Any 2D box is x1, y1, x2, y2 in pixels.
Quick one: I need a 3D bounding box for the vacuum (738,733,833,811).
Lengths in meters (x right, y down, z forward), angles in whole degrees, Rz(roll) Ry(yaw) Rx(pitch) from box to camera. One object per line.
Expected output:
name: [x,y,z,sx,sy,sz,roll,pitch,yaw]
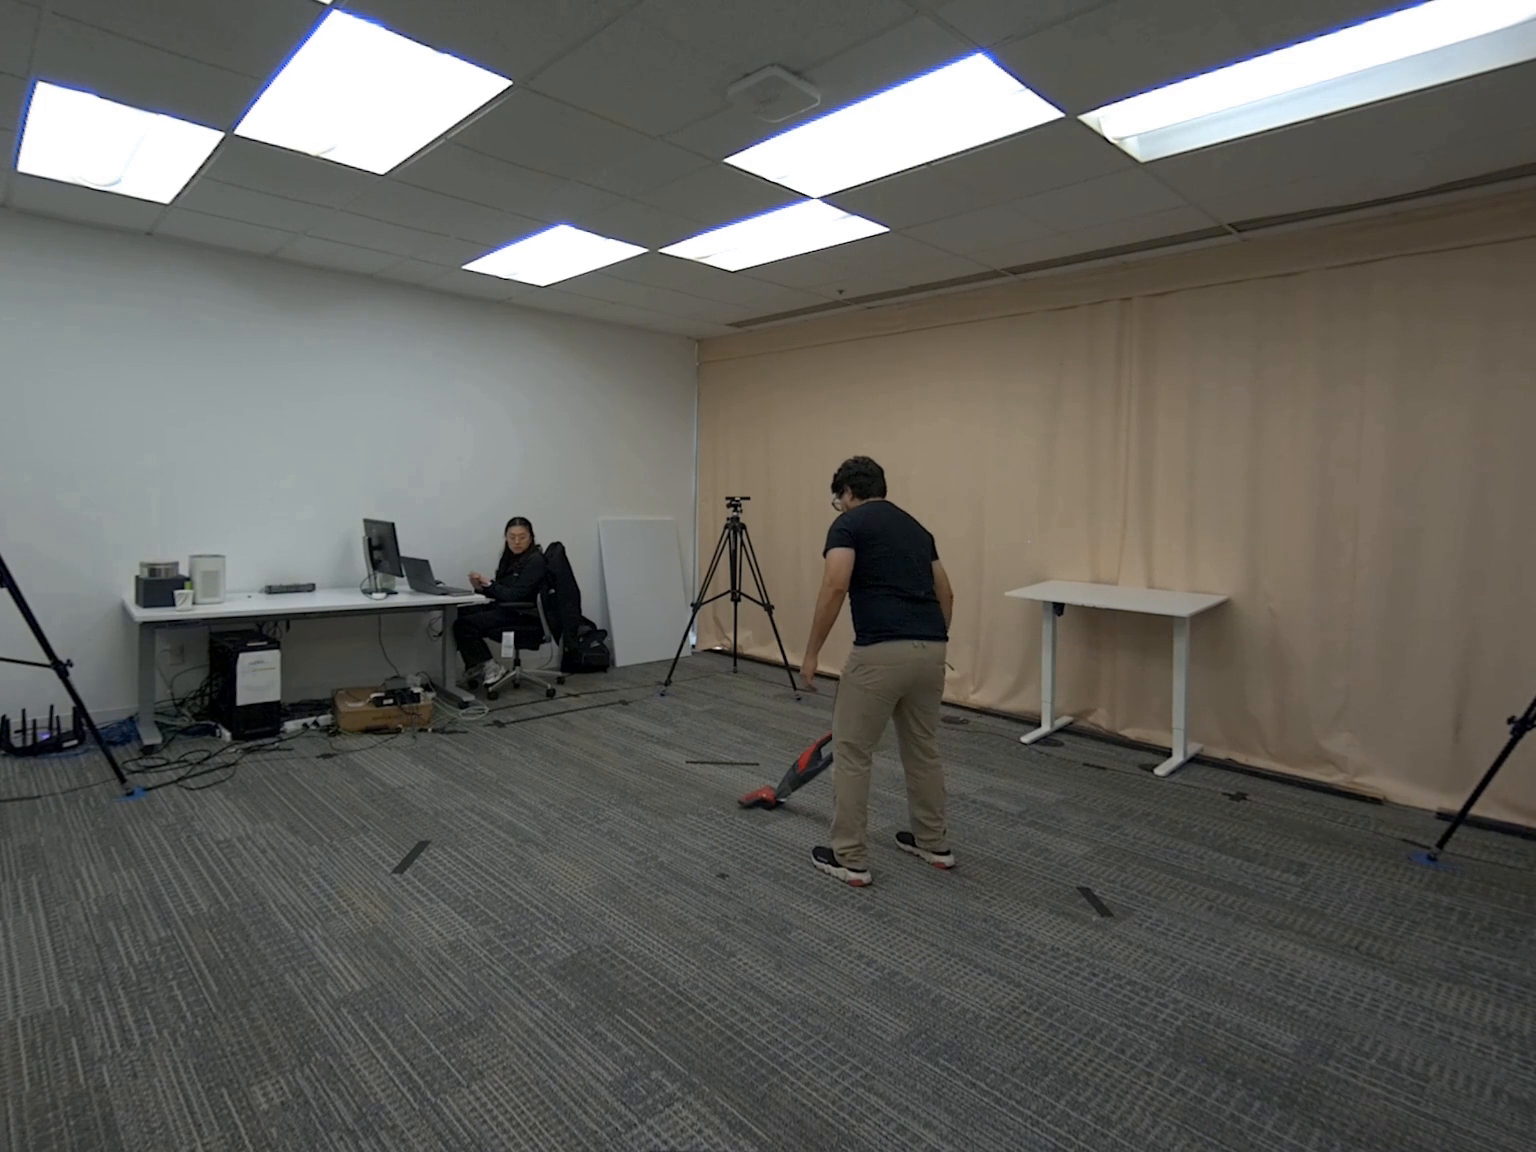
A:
vacuum: [0.301,0.710,3.617,1.050,0.147,0.247,-44,-20,27]
